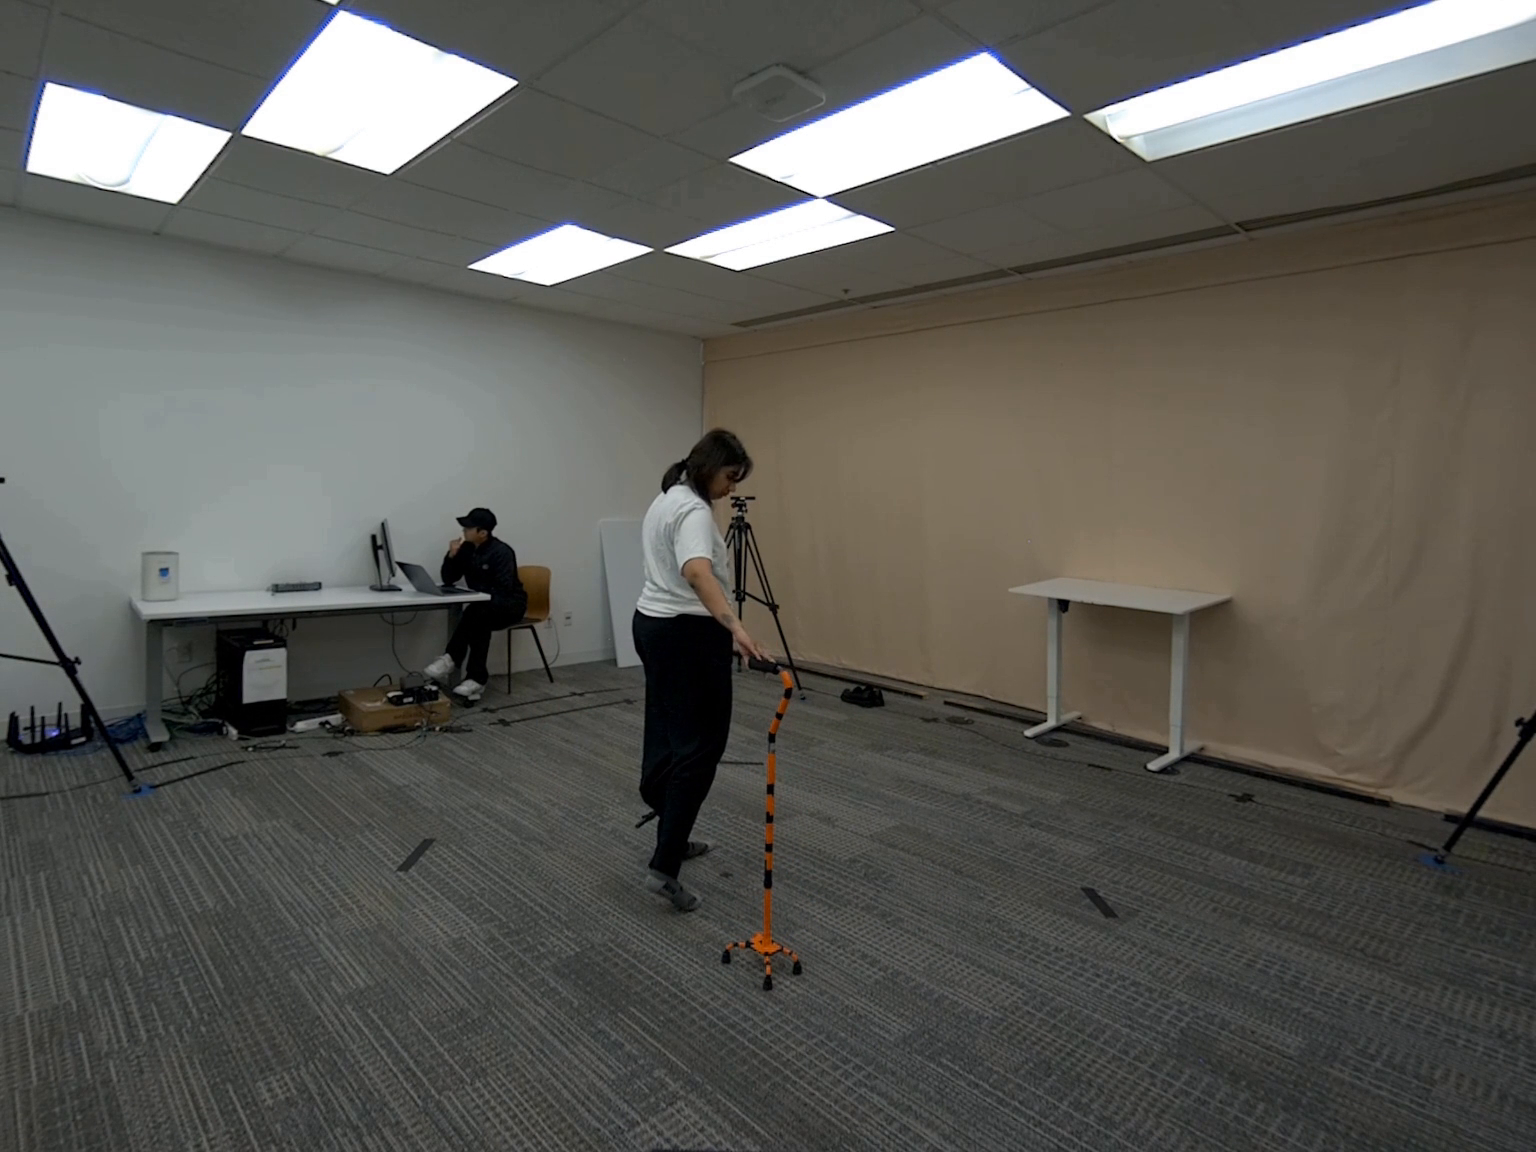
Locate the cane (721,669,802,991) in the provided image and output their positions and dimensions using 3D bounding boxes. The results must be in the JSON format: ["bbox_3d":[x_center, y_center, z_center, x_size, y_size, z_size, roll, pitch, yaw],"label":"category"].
[{"bbox_3d":[-0.011,0.711,2.475,0.148,0.906,0.212,-1,4,-45],"label":"cane"}]
